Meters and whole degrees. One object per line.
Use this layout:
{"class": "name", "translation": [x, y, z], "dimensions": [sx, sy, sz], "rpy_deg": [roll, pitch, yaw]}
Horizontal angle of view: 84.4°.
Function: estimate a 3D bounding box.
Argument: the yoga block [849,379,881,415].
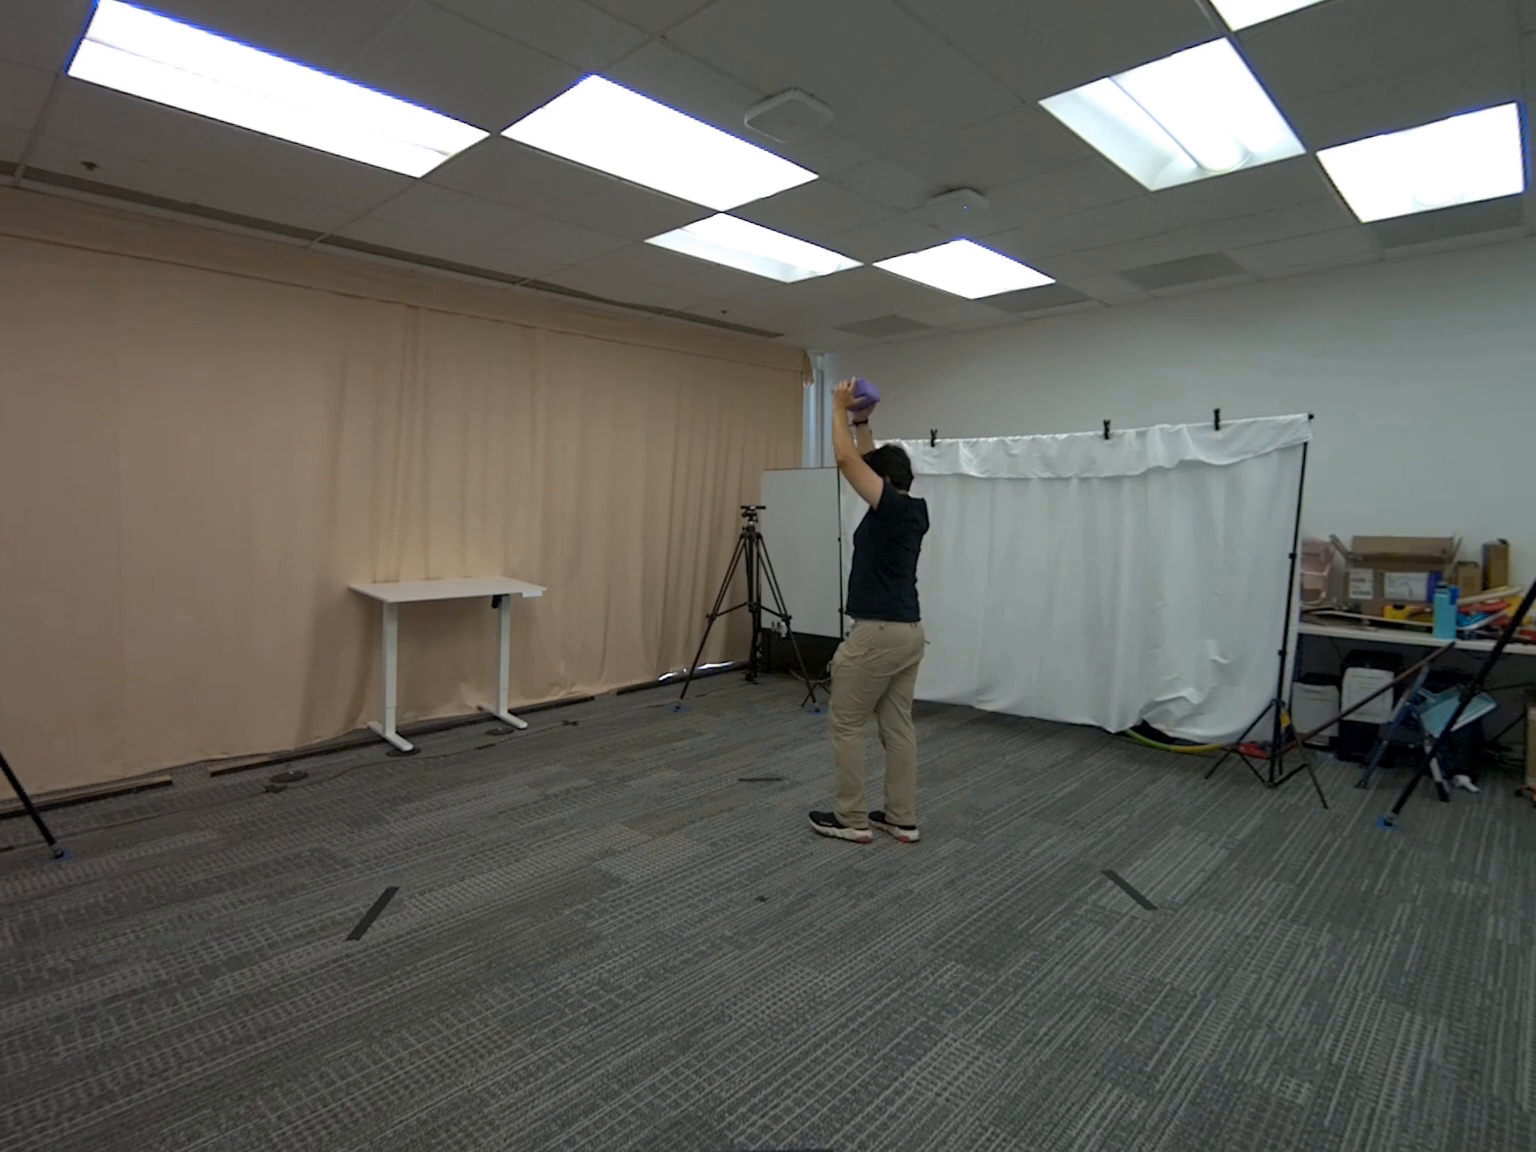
{"class": "yoga block", "translation": [0.388, -0.782, 3.639], "dimensions": [0.152, 0.077, 0.224], "rpy_deg": [-16, -4, 22]}
